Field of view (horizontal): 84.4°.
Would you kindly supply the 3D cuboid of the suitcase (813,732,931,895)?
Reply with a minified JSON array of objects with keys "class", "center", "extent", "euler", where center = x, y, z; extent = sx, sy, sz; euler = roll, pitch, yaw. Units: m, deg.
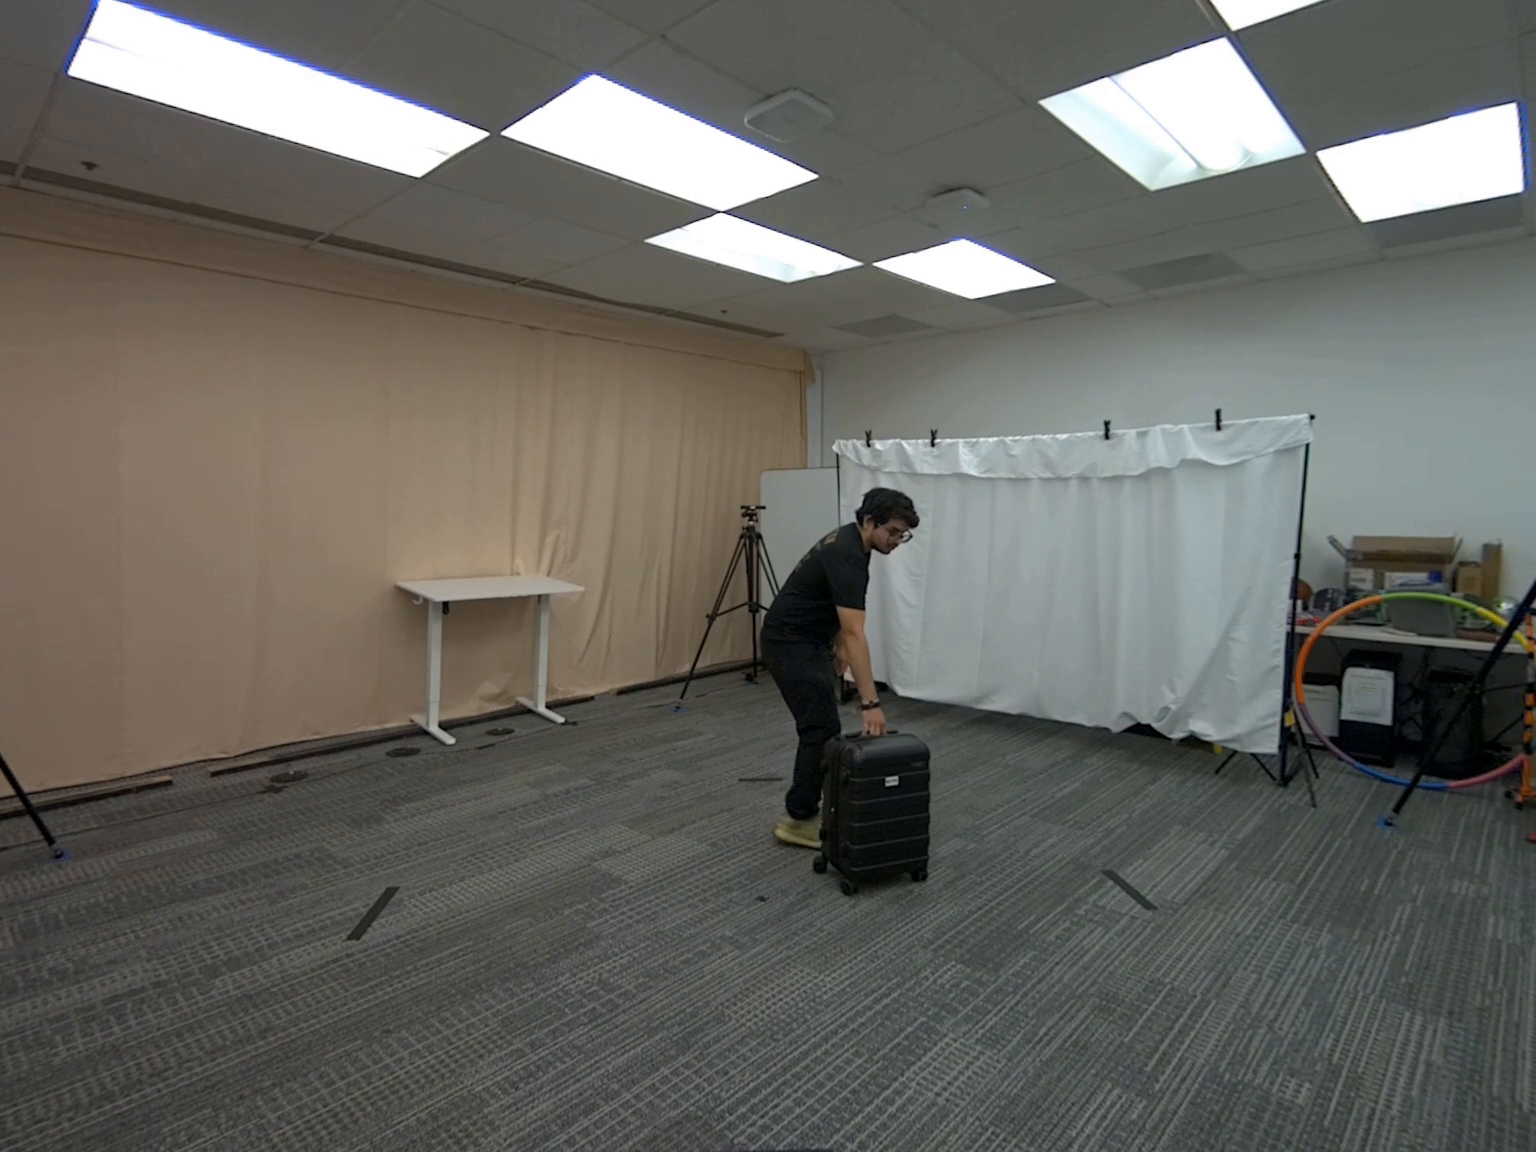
[{"class":"suitcase","center":[0.410,0.854,3.127],"extent":[0.367,0.548,0.254],"euler":[-1,5,-23]}]
